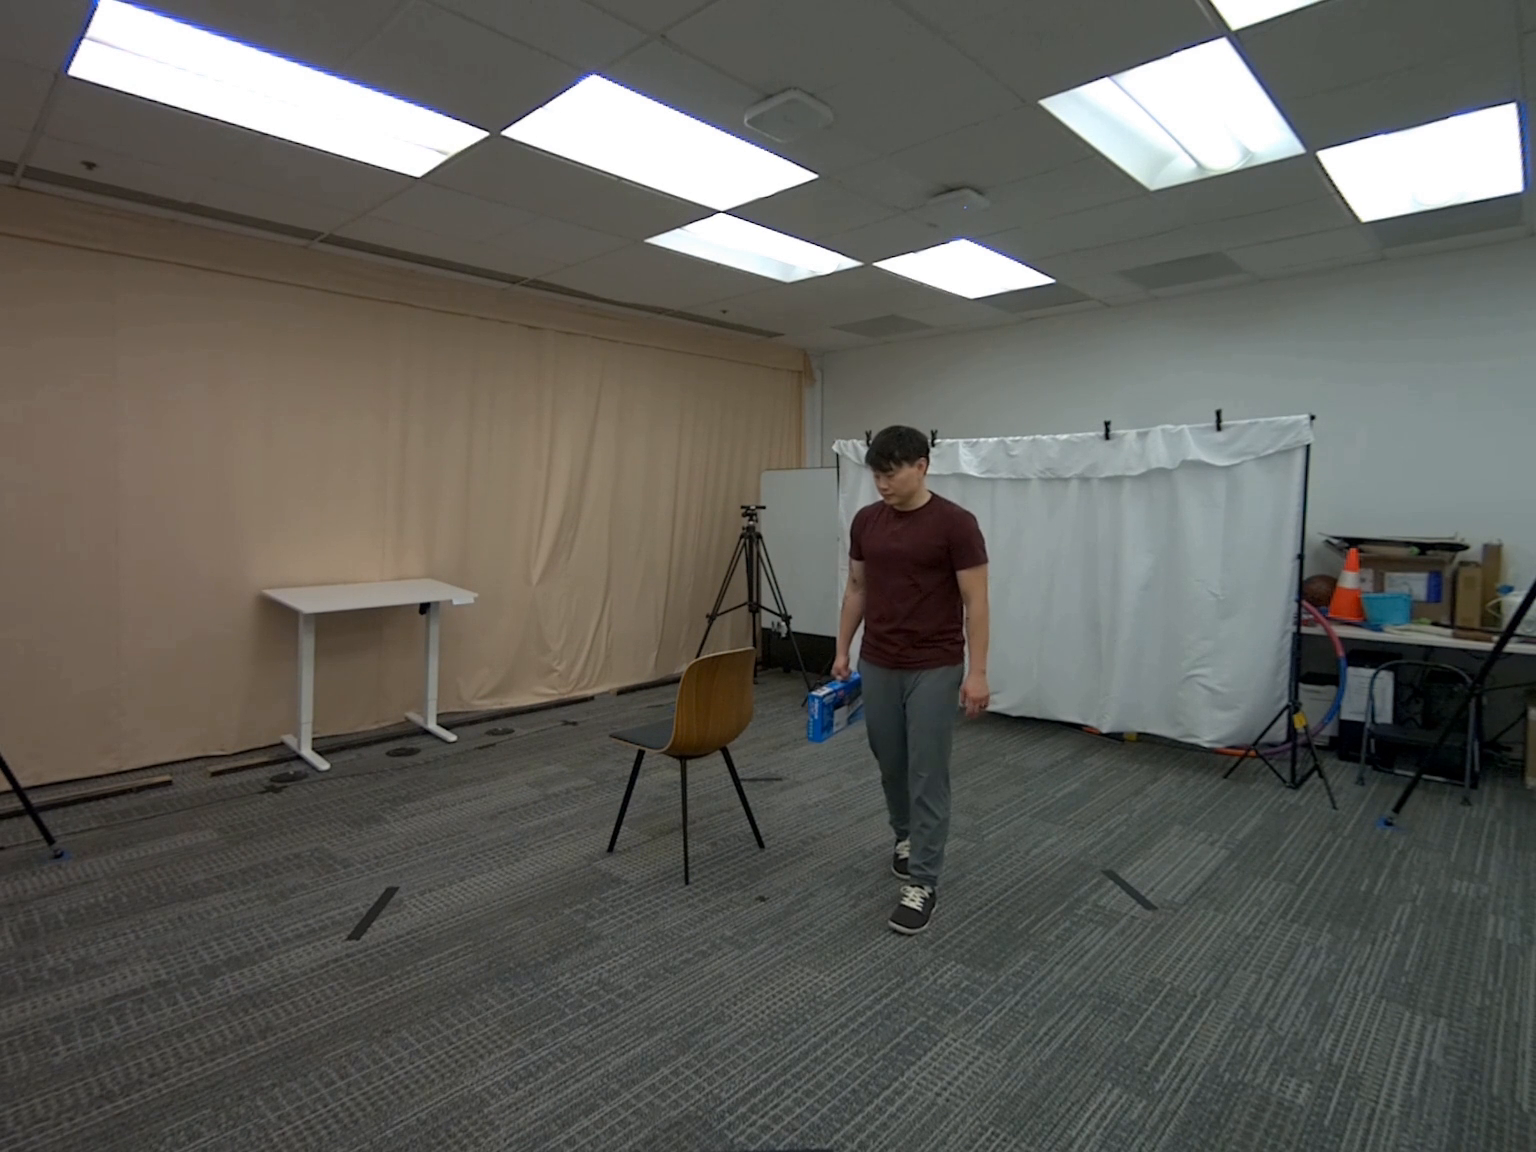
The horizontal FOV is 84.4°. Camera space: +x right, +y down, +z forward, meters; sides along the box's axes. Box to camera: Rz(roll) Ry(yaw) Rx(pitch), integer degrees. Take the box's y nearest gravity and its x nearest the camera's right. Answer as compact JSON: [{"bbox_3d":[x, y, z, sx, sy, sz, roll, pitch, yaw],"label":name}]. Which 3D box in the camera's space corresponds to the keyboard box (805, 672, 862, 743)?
[{"bbox_3d":[0.288,0.478,3.160,0.061,0.175,0.425,6,11,34],"label":"keyboard box"}]
